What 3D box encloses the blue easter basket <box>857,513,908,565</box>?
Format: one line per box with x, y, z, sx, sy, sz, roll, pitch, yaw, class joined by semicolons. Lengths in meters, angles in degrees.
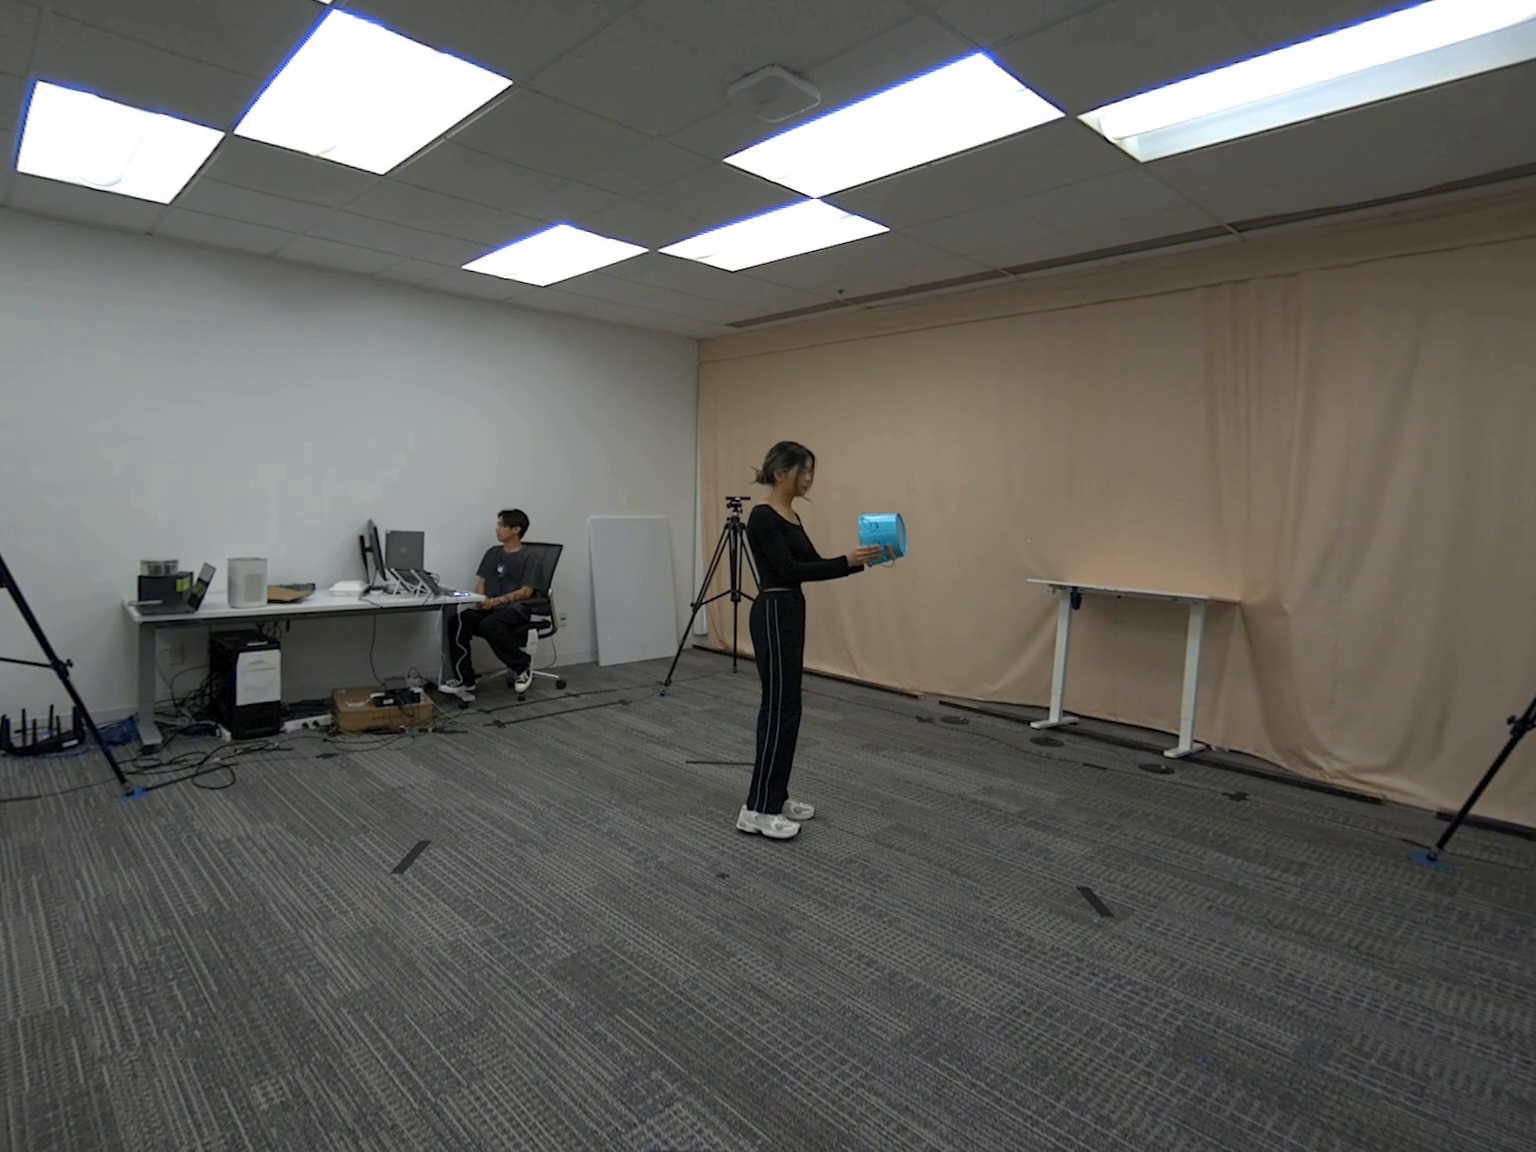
0.470;-0.164;3.502;0.158;0.244;0.240;-9;0;21;blue easter basket
